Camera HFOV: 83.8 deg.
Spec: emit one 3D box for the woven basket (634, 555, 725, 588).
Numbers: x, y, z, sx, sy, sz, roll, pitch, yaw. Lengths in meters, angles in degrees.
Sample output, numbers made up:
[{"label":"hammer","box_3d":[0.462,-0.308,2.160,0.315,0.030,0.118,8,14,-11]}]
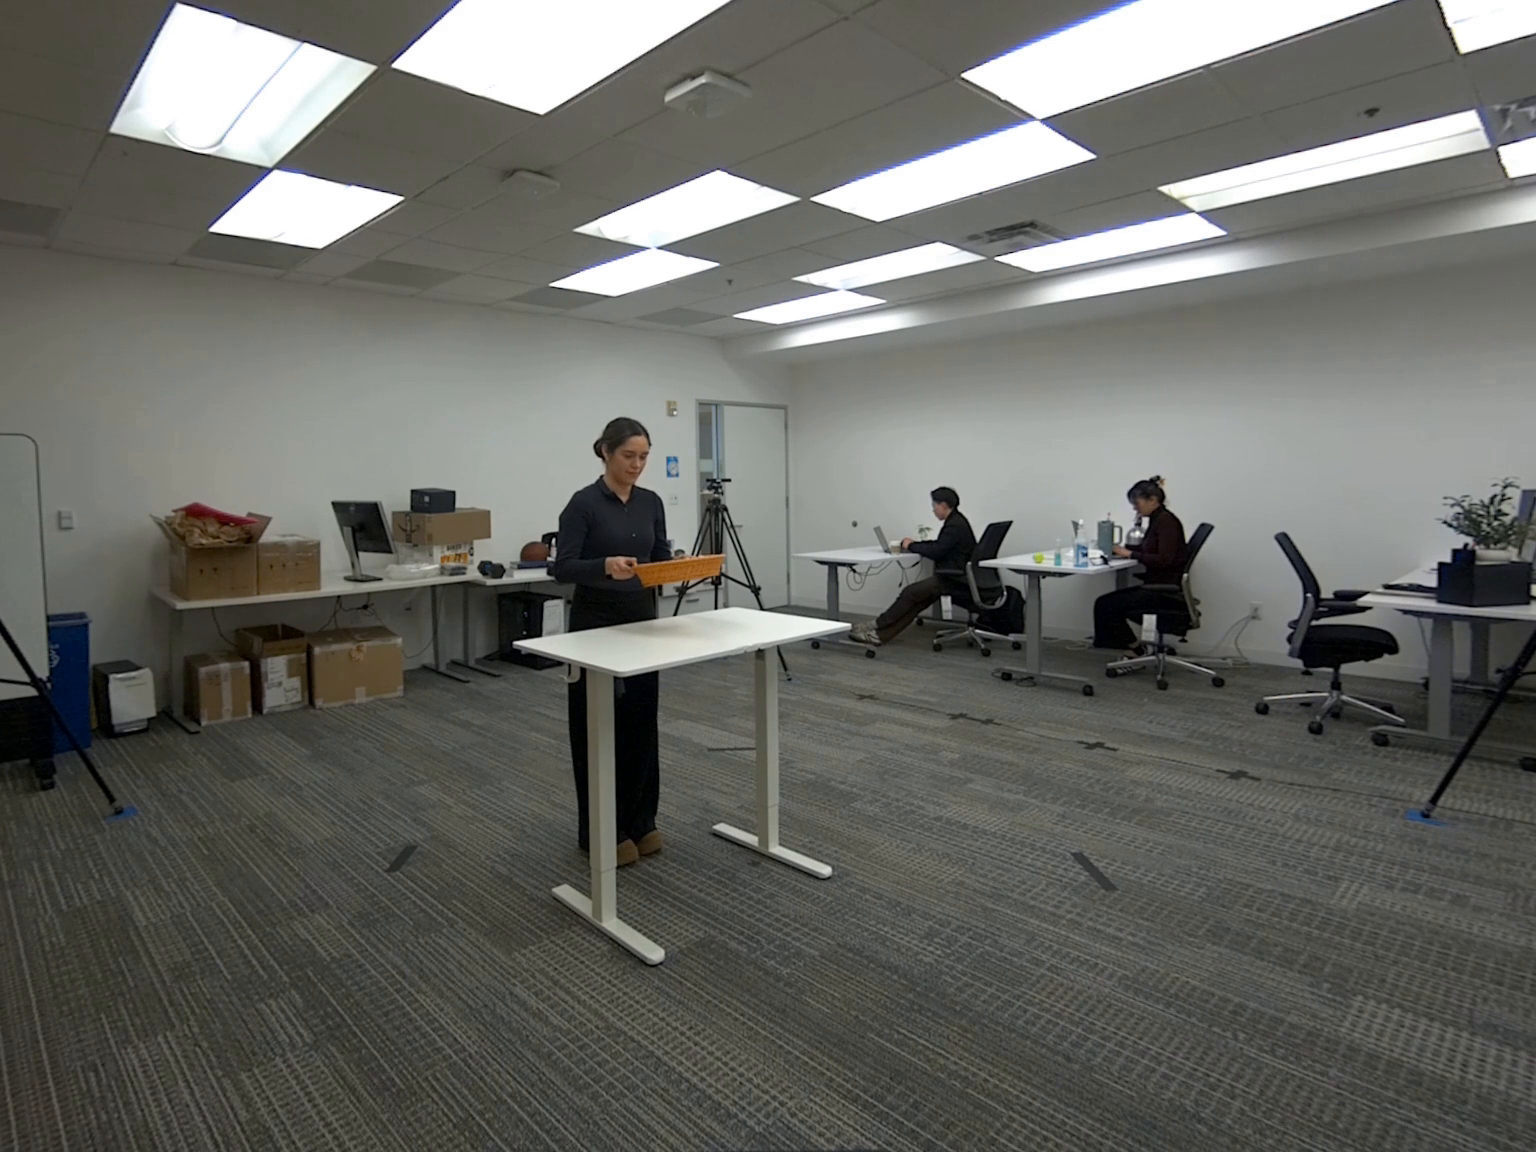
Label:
[{"label":"woven basket","box_3d":[-0.331,-0.016,2.949,0.344,0.073,0.257,-7,2,-22]}]
